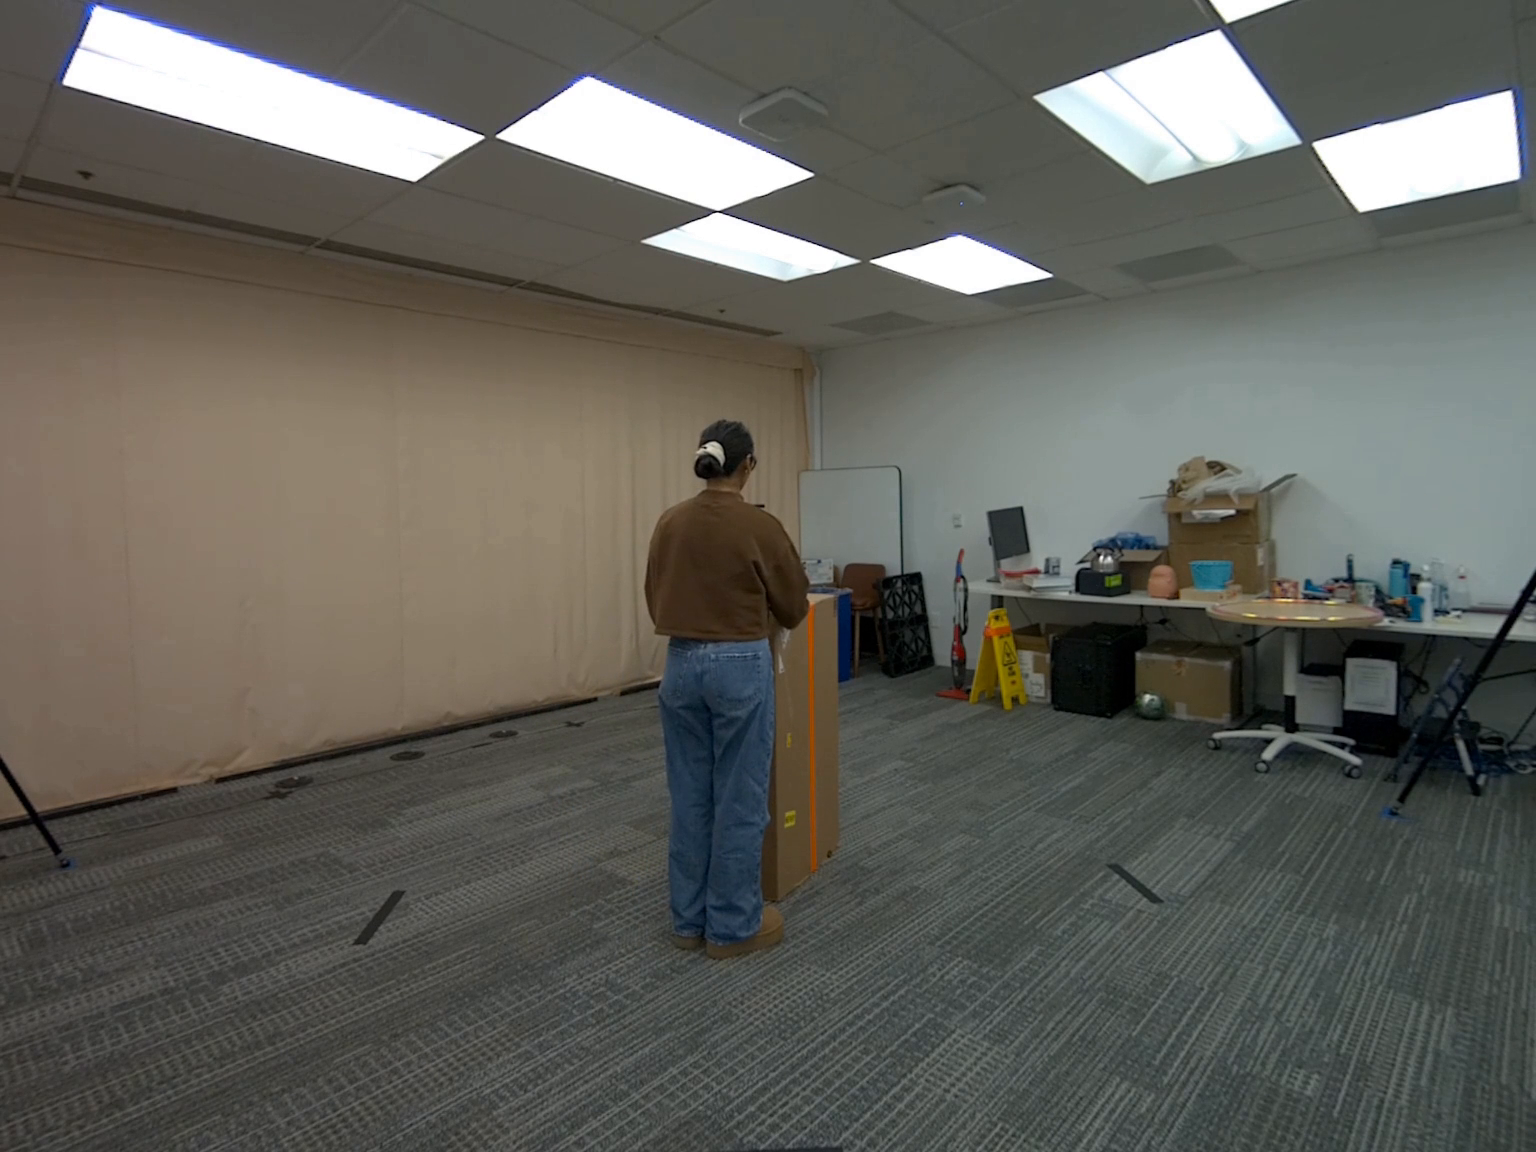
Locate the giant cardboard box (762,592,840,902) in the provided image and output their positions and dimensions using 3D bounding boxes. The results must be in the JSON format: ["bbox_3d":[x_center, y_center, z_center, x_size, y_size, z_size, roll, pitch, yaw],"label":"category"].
[{"bbox_3d":[-0.020,0.604,3.269,0.438,1.023,0.562,1,4,29],"label":"giant cardboard box"}]
